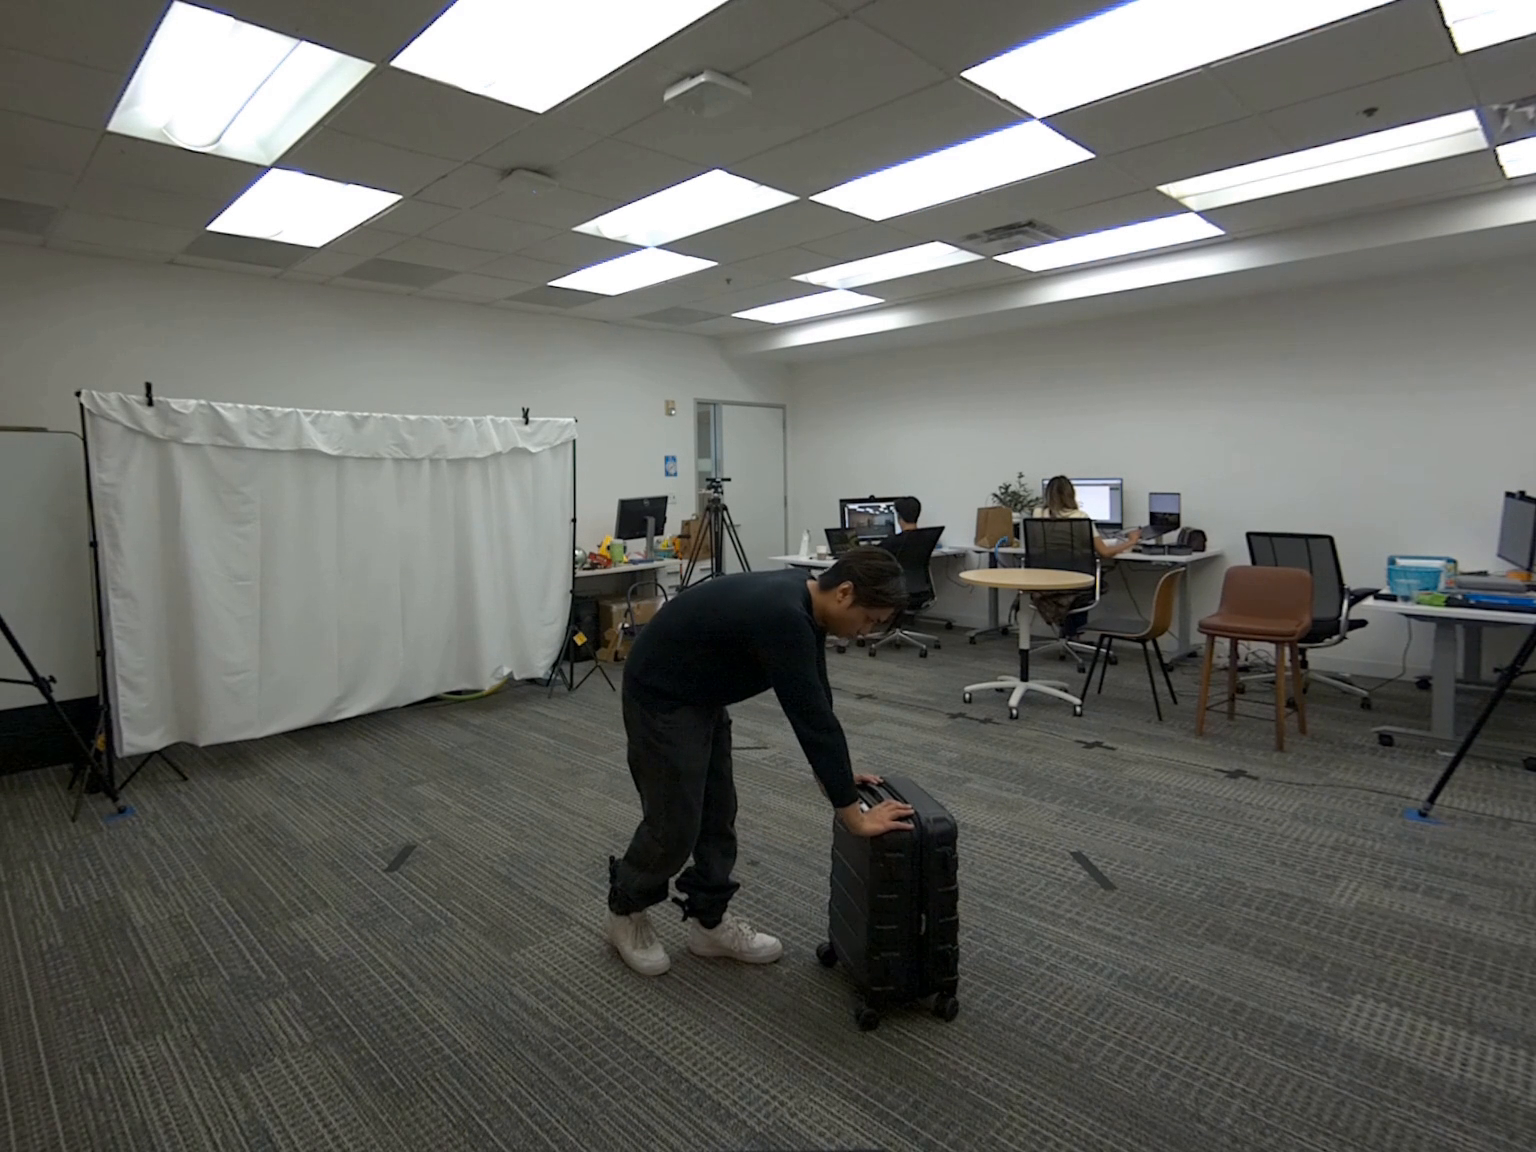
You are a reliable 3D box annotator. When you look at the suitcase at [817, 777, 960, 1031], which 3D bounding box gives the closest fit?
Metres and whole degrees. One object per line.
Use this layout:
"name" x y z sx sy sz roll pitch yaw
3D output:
"suitcase" 0.331 0.851 2.325 0.245 0.547 0.381 0 4 -13
